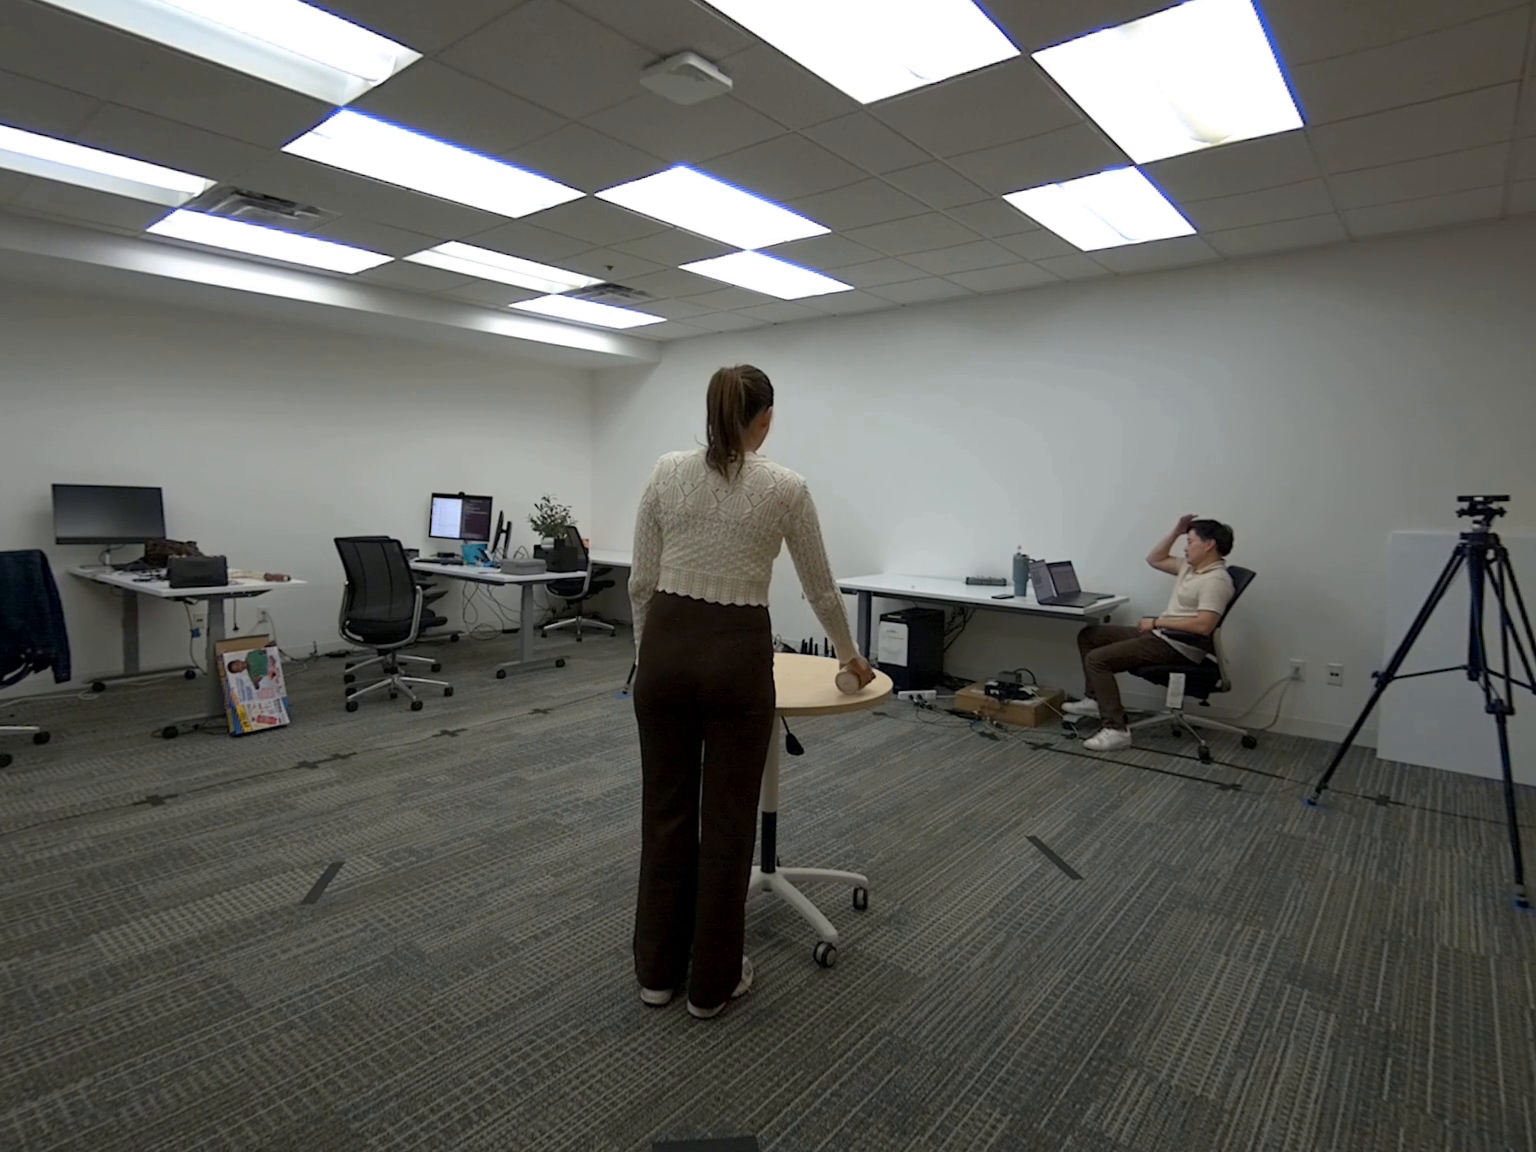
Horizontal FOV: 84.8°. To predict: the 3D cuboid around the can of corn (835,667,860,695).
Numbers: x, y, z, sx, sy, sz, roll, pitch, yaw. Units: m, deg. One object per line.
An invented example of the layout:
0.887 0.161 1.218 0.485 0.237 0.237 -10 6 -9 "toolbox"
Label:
0.242 0.296 2.571 0.076 0.073 0.110 2 15 23 "can of corn"
